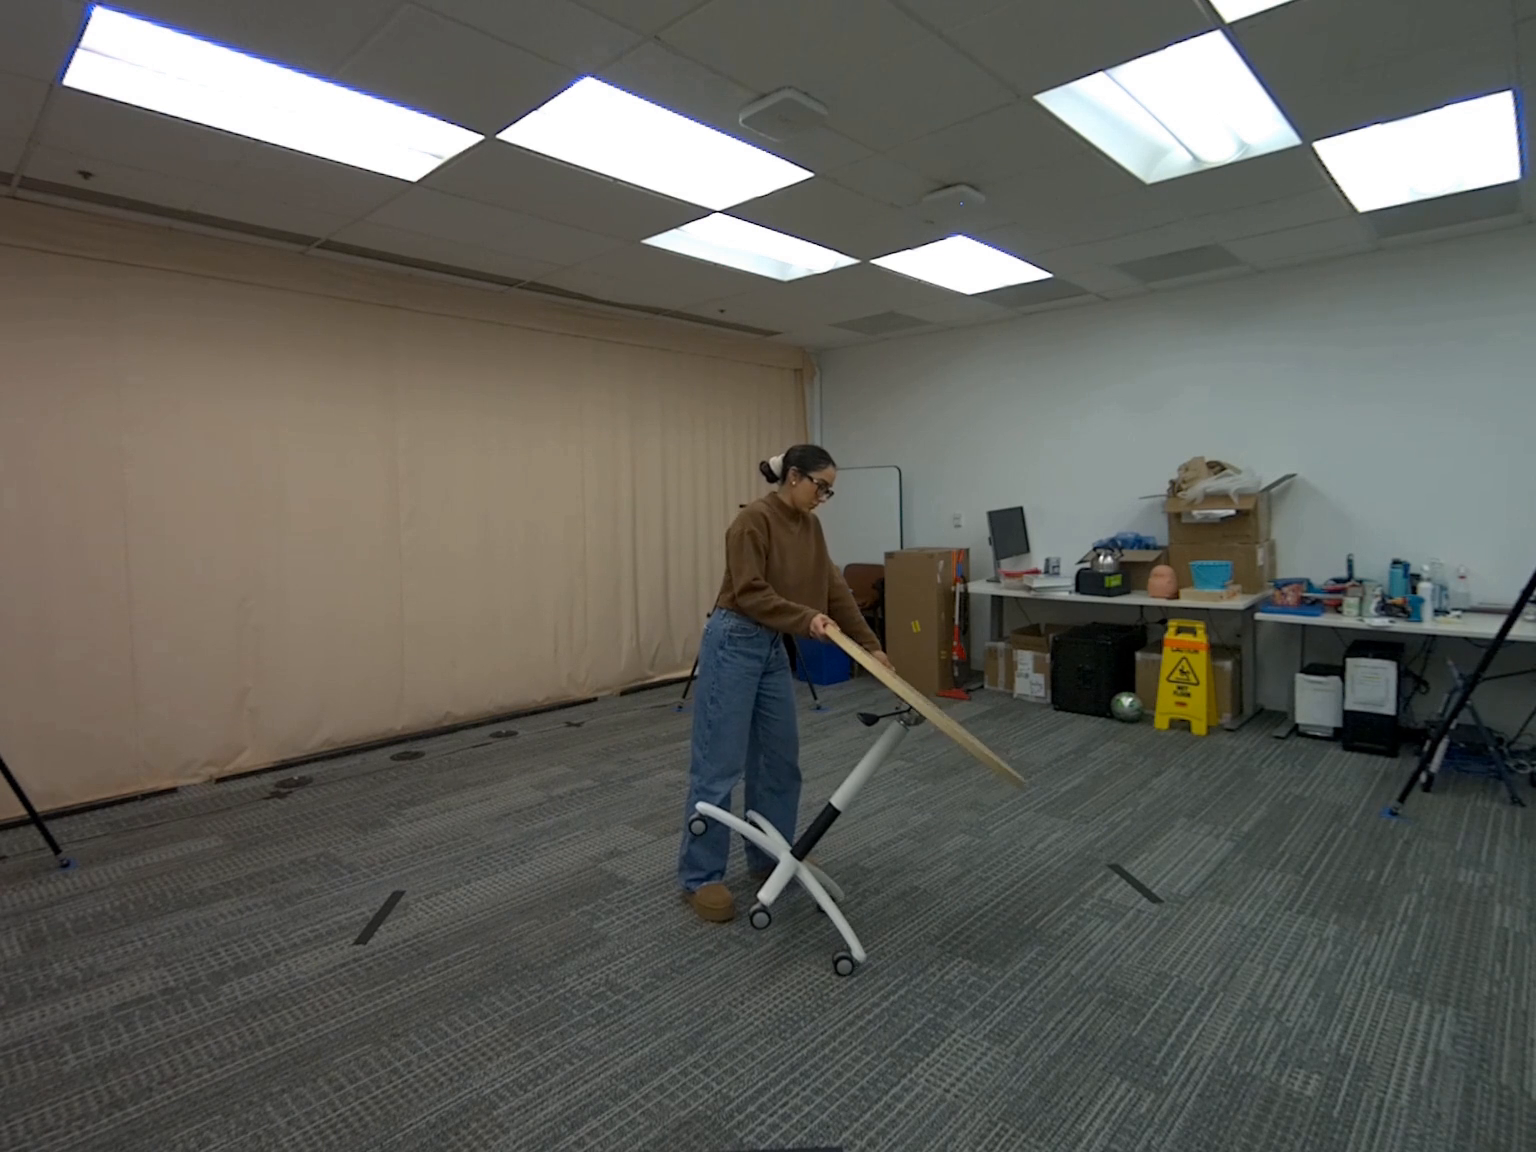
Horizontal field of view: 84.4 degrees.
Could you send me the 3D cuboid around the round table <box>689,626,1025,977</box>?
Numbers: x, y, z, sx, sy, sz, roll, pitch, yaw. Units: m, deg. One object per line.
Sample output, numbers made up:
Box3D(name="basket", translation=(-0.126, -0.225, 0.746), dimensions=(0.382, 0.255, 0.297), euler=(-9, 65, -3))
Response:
Box3D(name="round table", translation=(0.235, 0.695, 2.668), dimensions=(0.761, 0.794, 0.767), euler=(39, 2, -4))
